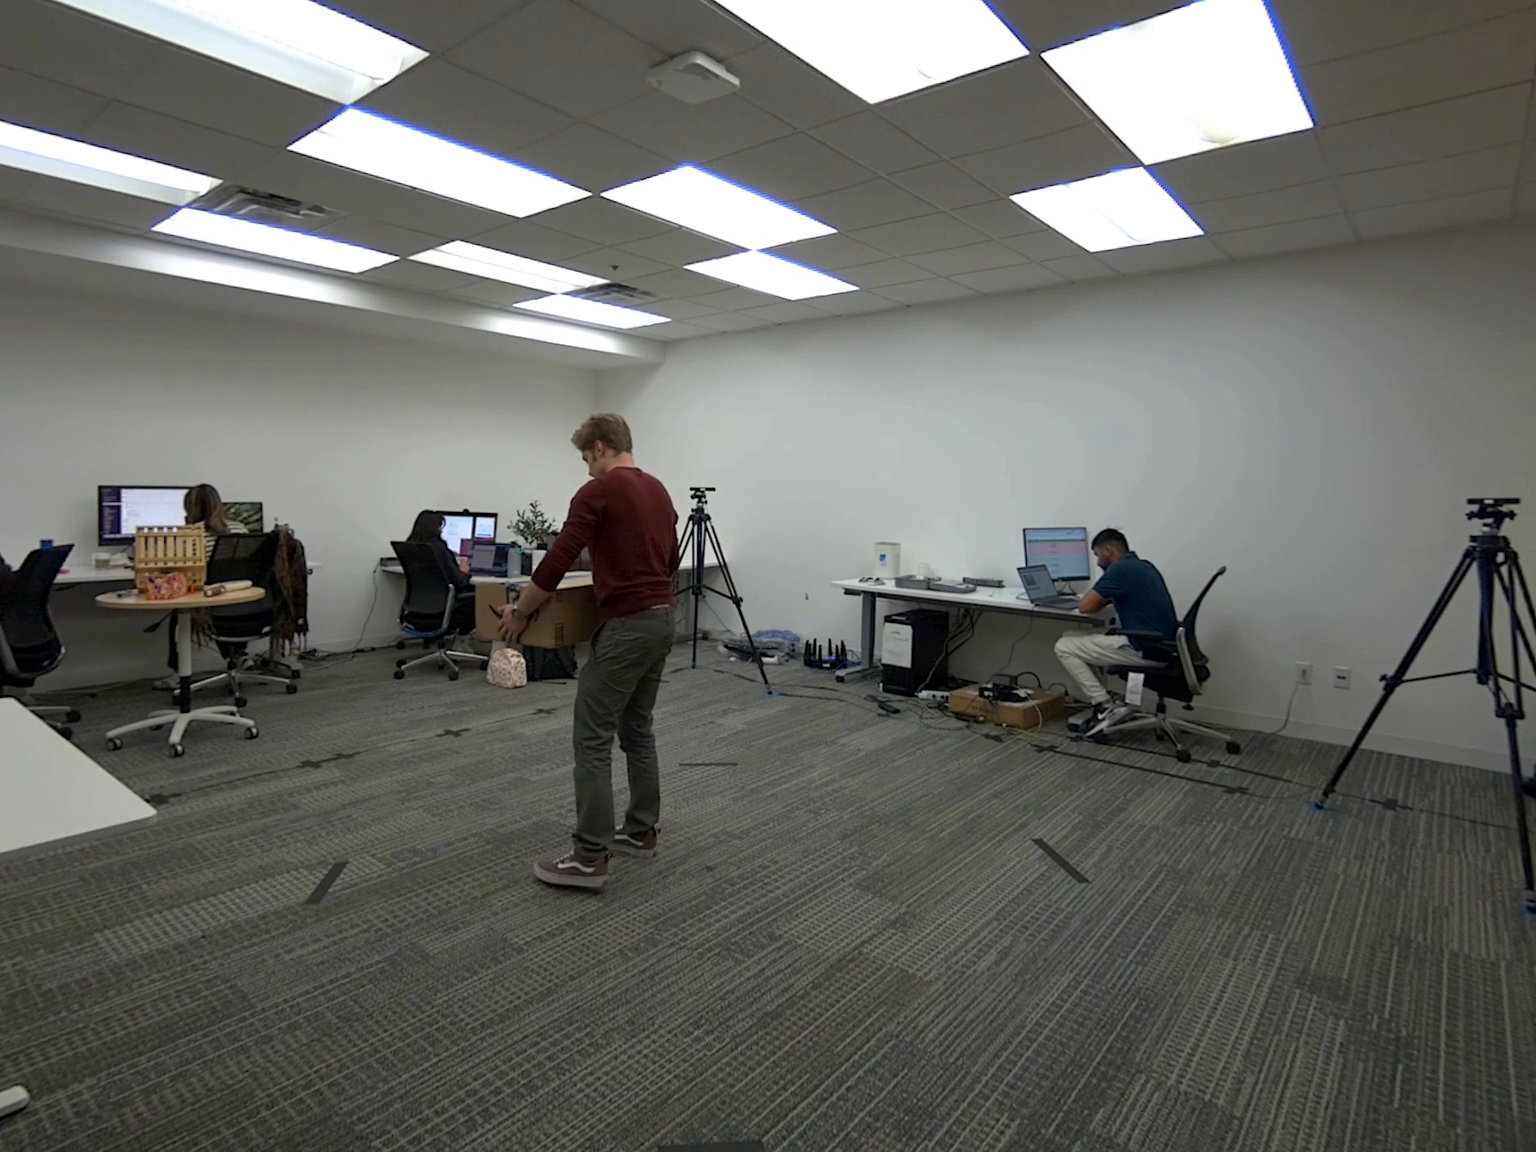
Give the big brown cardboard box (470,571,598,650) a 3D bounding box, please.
[{"bbox_3d":[-0.810,0.112,3.351,0.430,0.232,0.573,4,5,31],"label":"big brown cardboard box"}]
